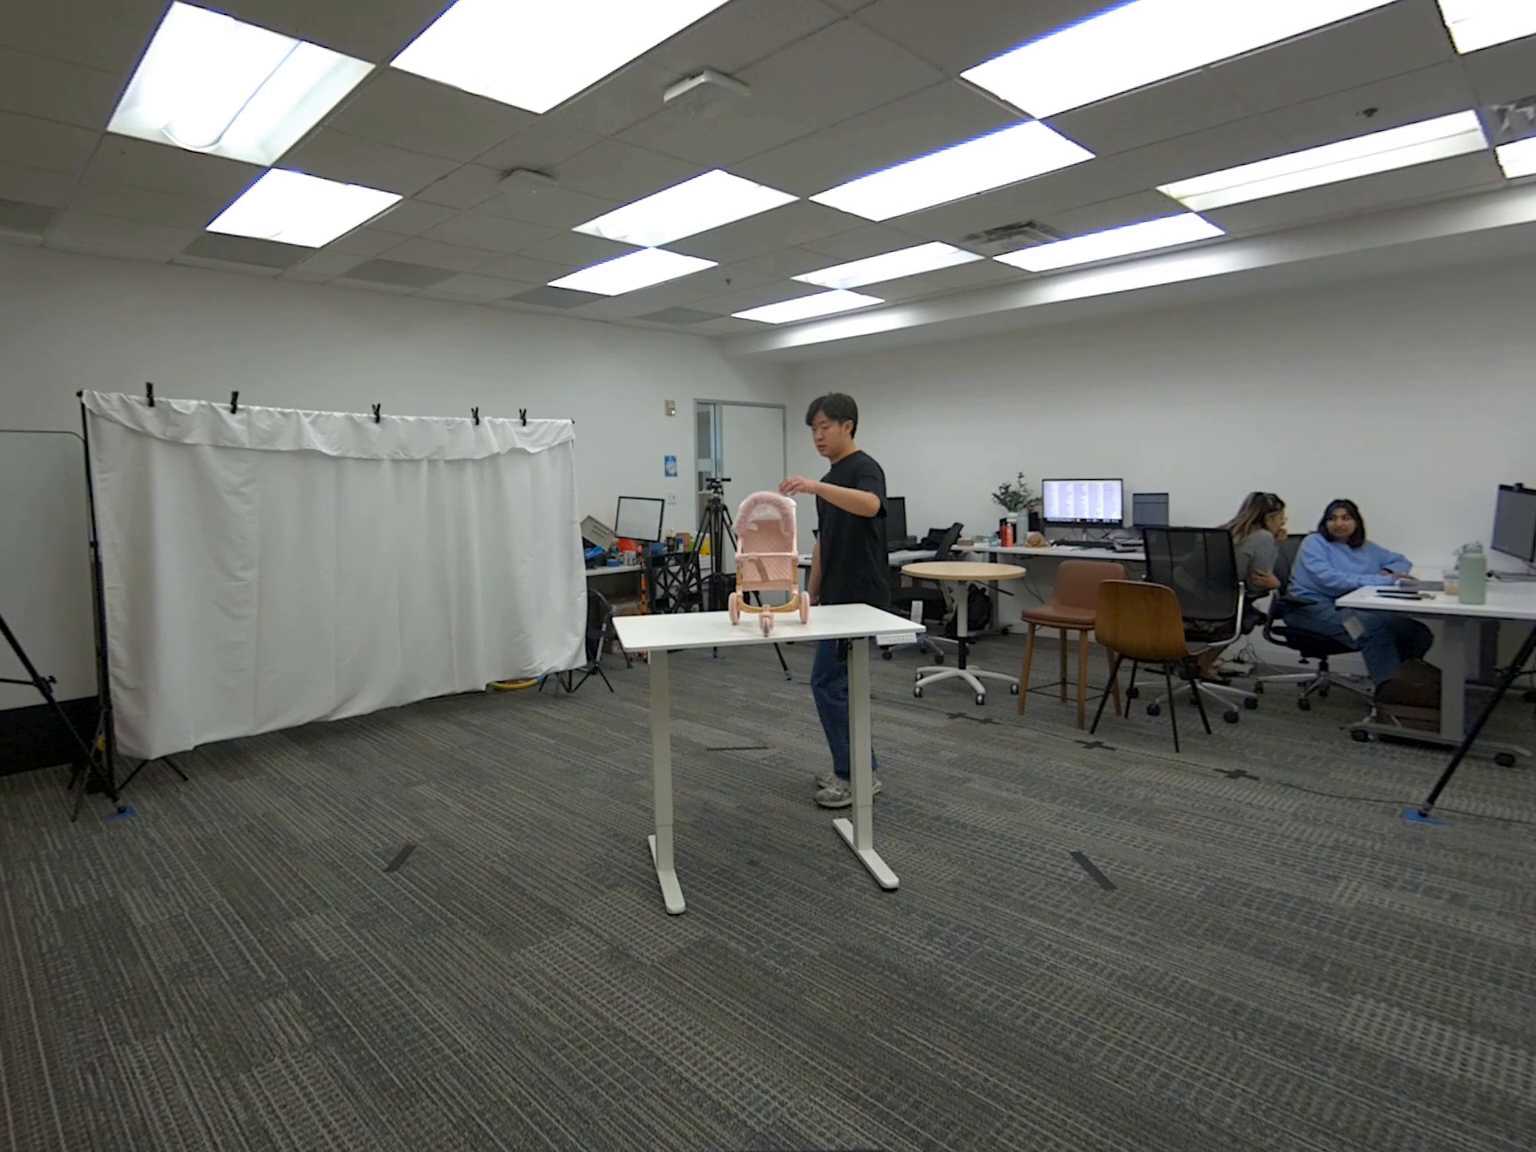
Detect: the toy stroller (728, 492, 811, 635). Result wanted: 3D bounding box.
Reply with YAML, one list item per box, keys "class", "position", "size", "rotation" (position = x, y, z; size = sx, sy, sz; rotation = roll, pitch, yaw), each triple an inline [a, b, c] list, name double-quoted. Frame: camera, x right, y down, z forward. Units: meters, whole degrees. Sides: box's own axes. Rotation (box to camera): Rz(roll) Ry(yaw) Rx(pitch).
- class: "toy stroller"
  position: [-0.006, -0.048, 2.937]
  size: [0.284, 0.540, 0.335]
  rotation: [-1, -11, 8]
